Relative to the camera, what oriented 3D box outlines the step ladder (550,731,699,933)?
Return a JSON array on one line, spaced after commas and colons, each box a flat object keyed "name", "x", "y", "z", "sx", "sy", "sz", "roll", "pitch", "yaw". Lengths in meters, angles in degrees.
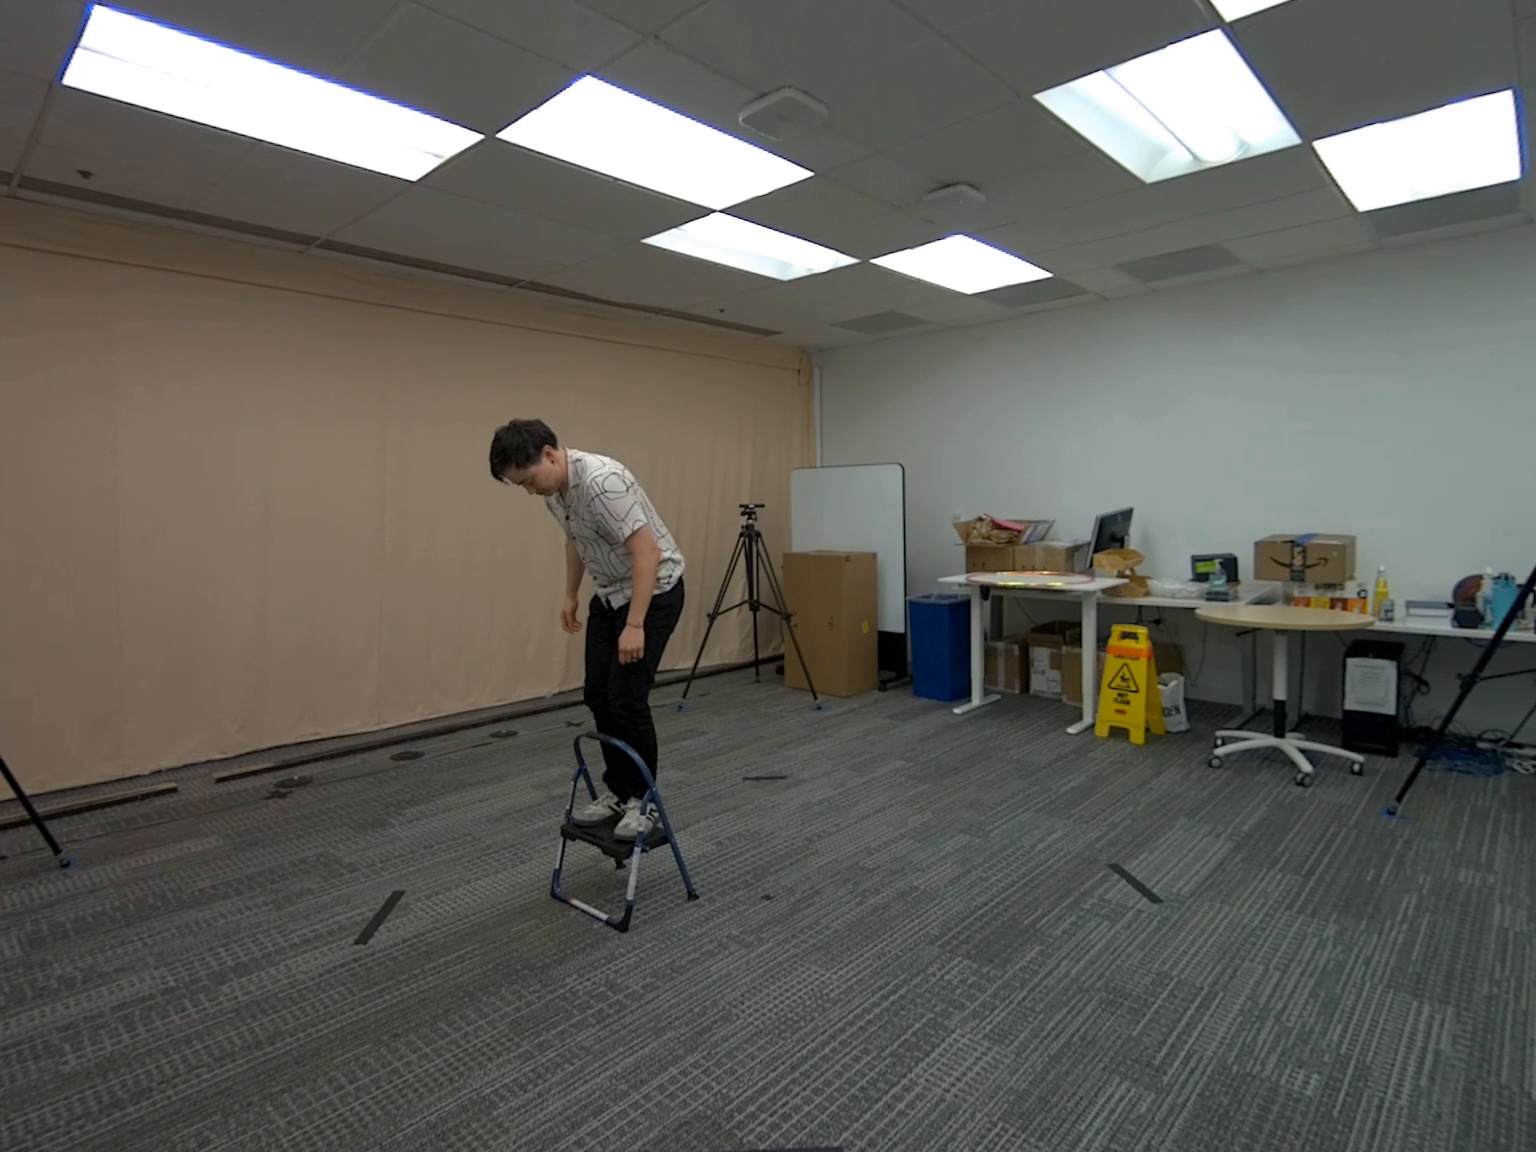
[{"name": "step ladder", "x": -0.526, "y": 0.846, "z": 2.998, "sx": 0.445, "sy": 0.604, "sz": 0.339, "roll": 2, "pitch": 5, "yaw": 41}]
